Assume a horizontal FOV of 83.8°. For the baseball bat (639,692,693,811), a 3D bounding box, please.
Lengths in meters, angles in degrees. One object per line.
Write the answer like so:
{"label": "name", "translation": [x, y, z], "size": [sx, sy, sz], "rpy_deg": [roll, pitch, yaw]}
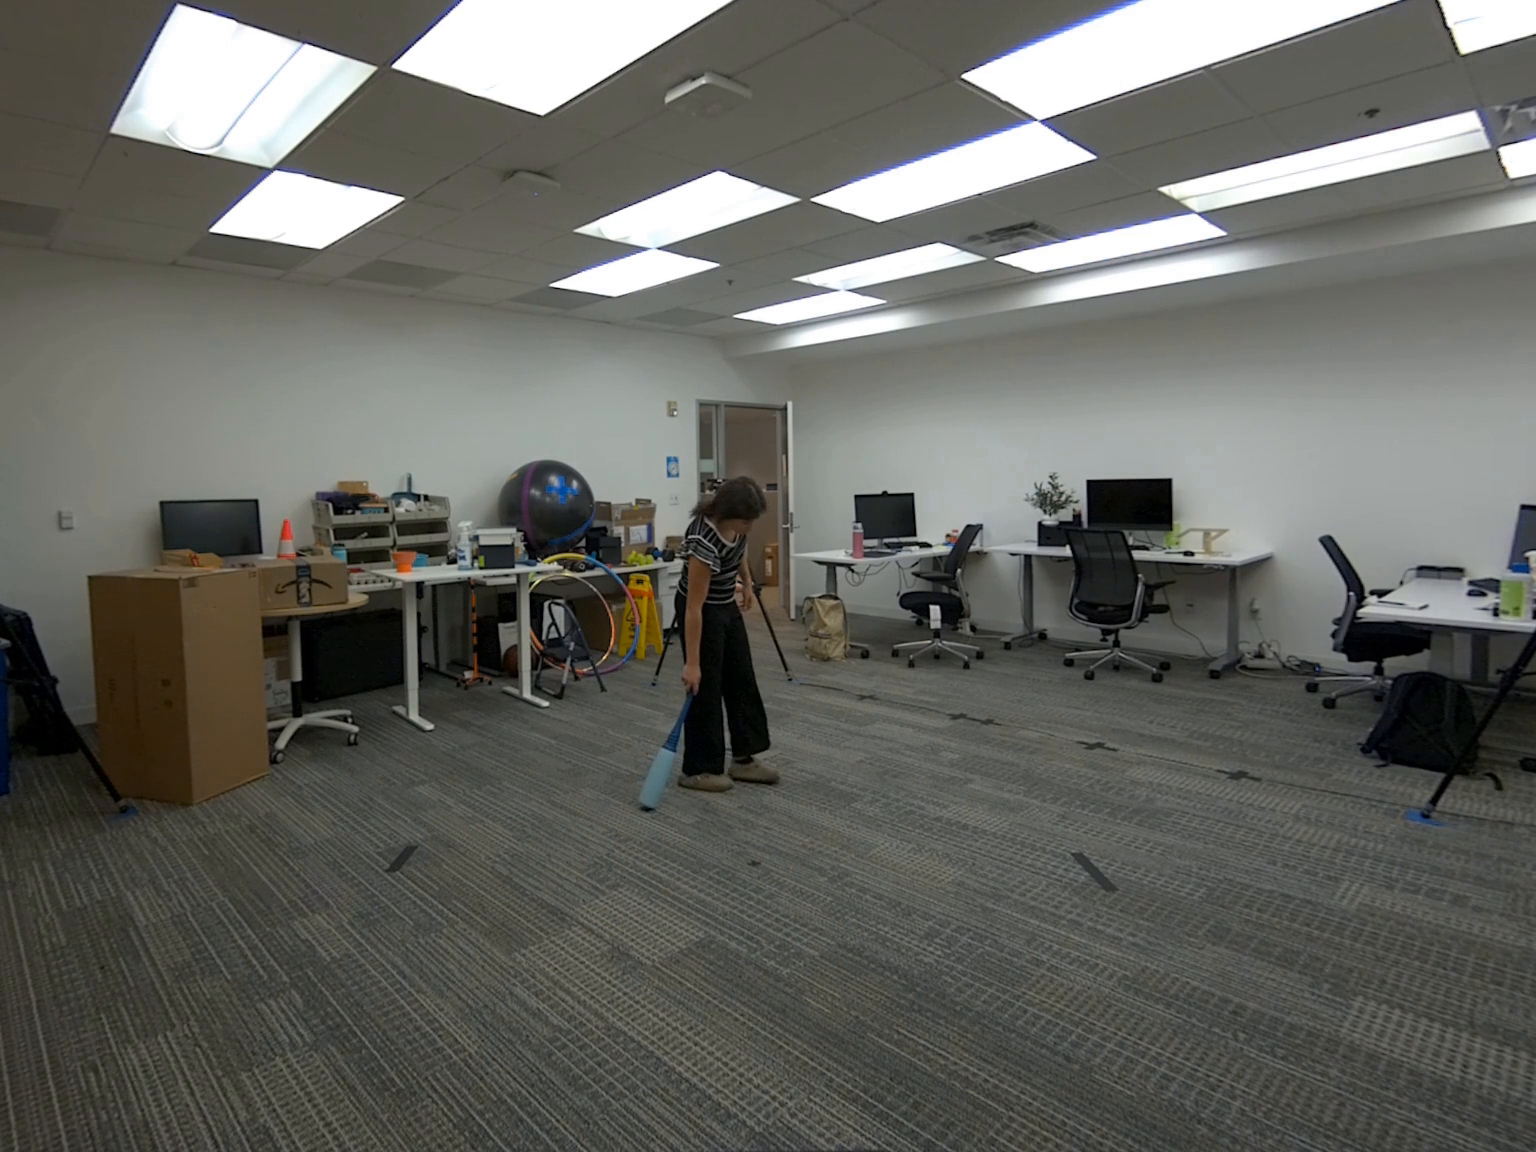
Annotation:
{"label": "baseball bat", "translation": [-0.423, 0.738, 3.693], "size": [0.089, 0.546, 0.088], "rpy_deg": [21, -11, 2]}
